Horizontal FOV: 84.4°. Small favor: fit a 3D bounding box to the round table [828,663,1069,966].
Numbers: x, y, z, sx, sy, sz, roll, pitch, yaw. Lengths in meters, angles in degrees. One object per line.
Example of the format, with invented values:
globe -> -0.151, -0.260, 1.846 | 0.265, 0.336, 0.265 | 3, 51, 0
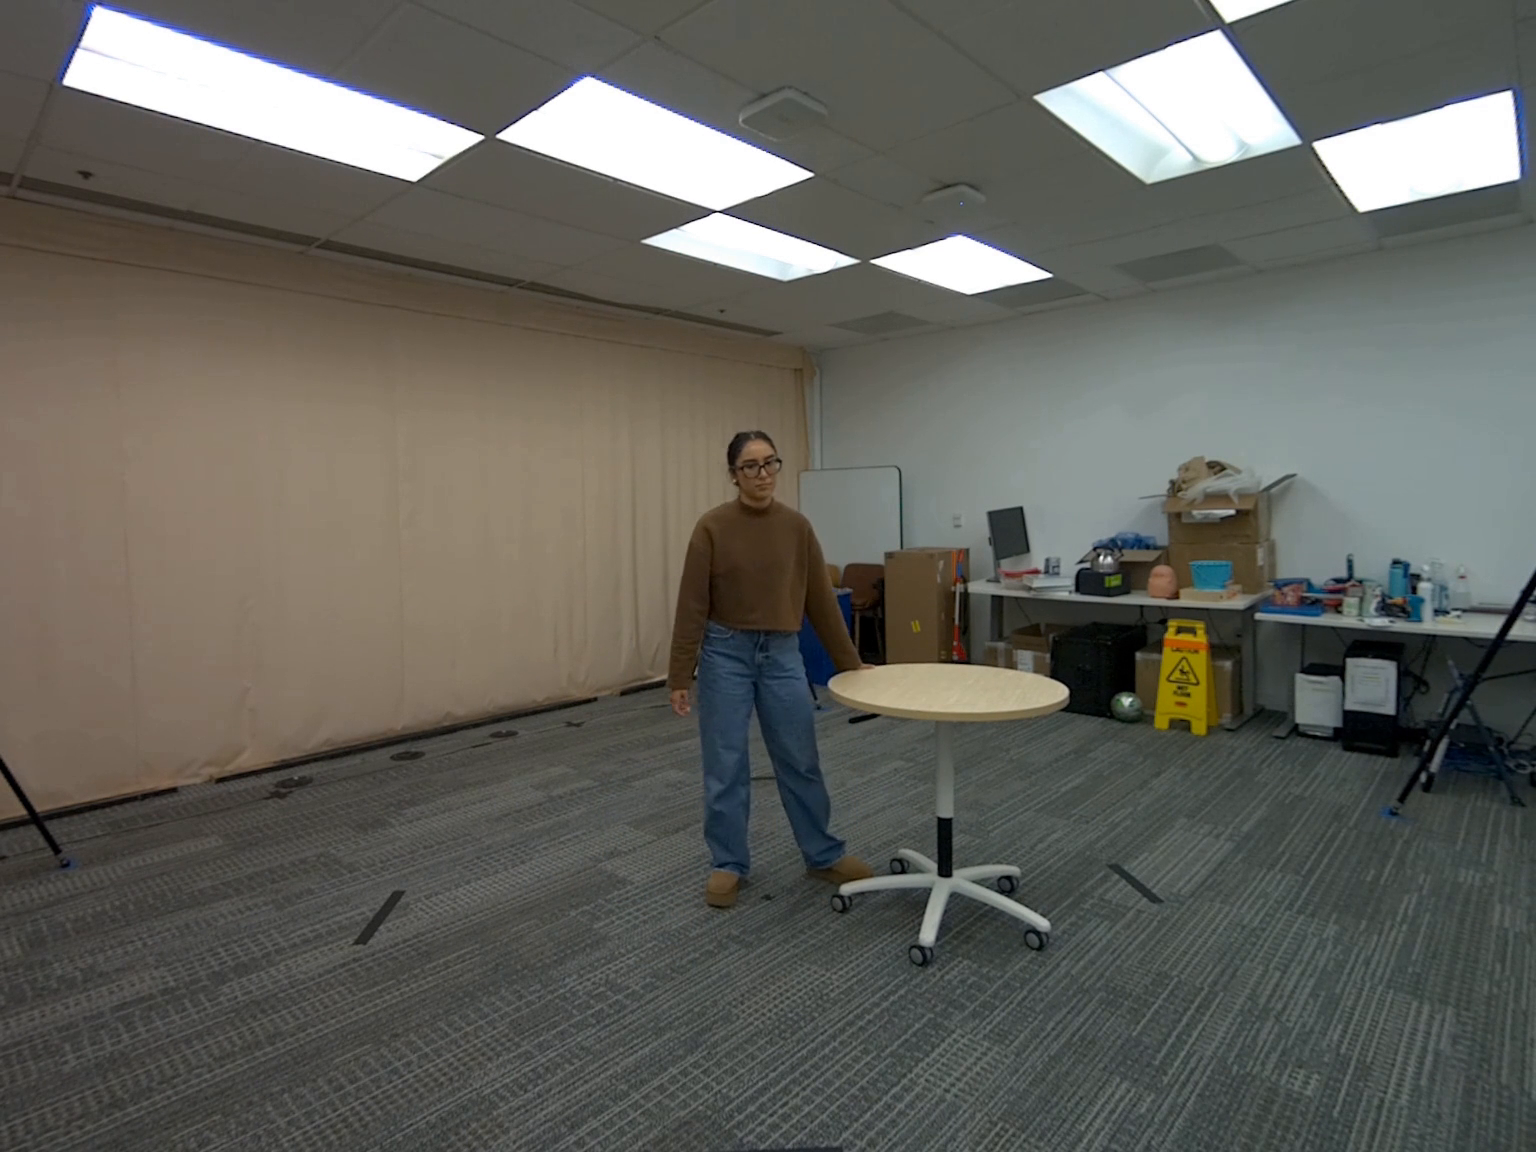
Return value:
round table -> 0.607, 0.752, 2.811 | 0.784, 0.784, 0.788 | -1, 4, -2
